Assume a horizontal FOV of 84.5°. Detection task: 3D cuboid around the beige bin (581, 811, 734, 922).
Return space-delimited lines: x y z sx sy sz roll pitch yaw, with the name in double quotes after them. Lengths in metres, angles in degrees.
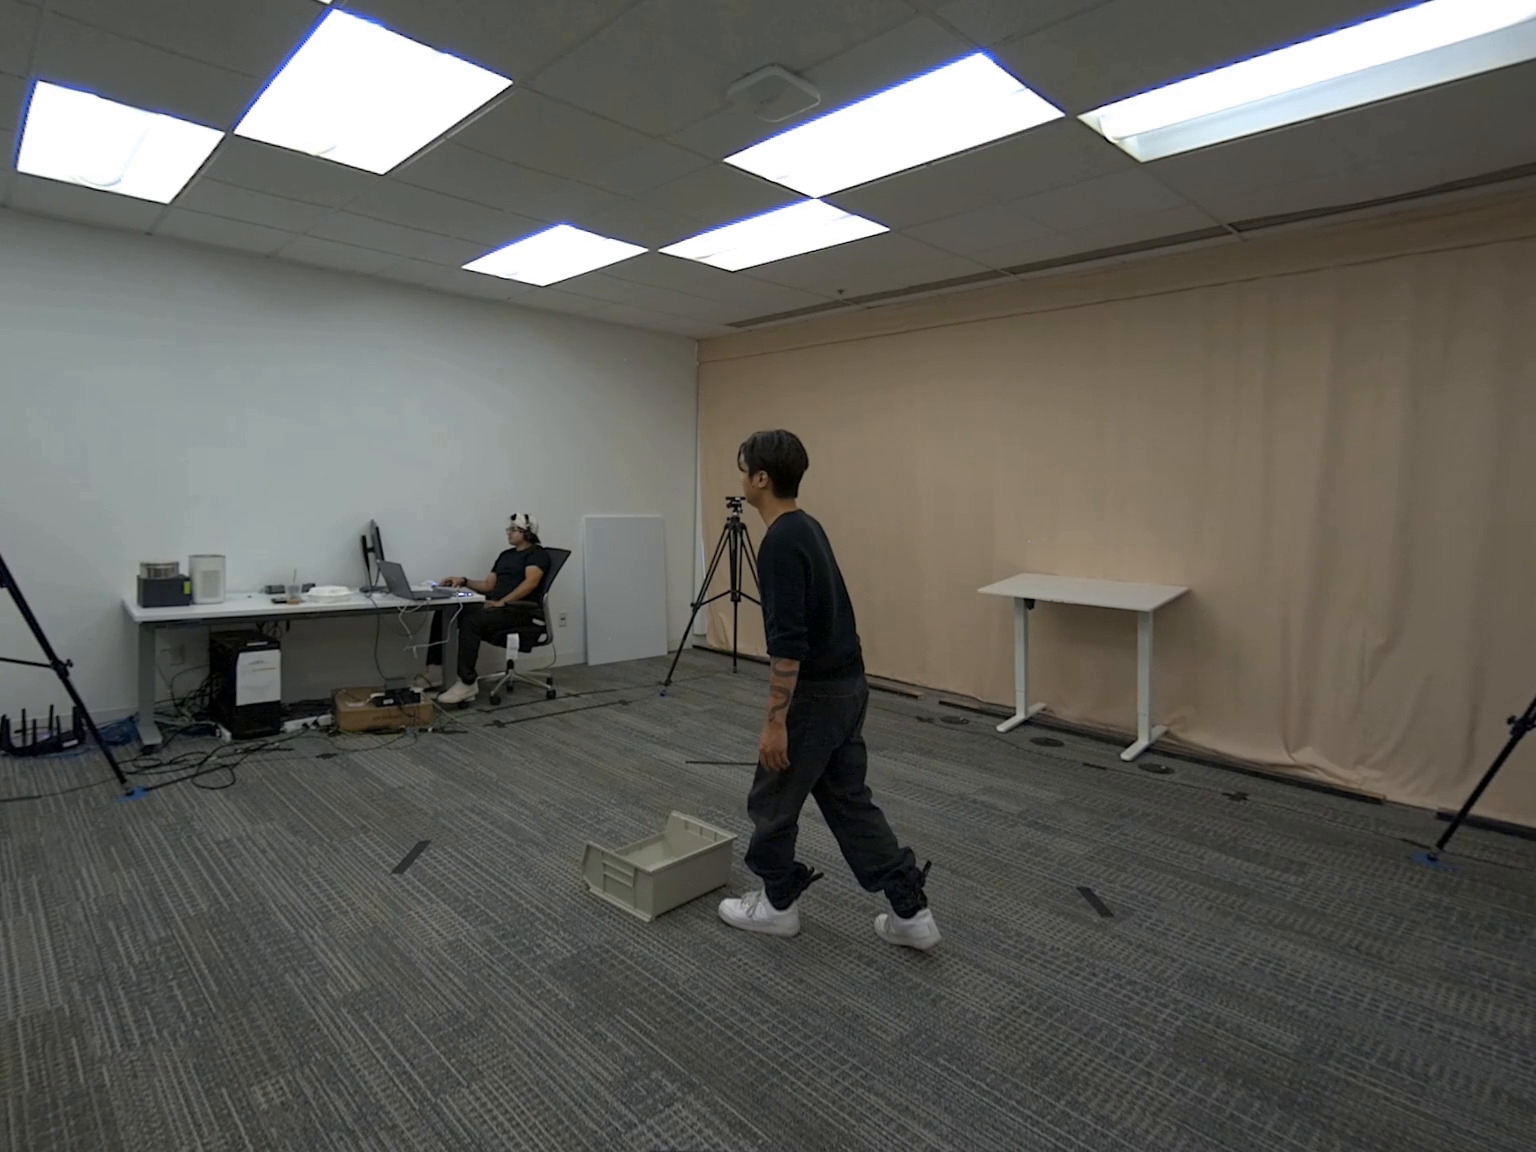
-0.397 1.022 3.010 0.387 0.188 0.413 7 7 41 "beige bin"
